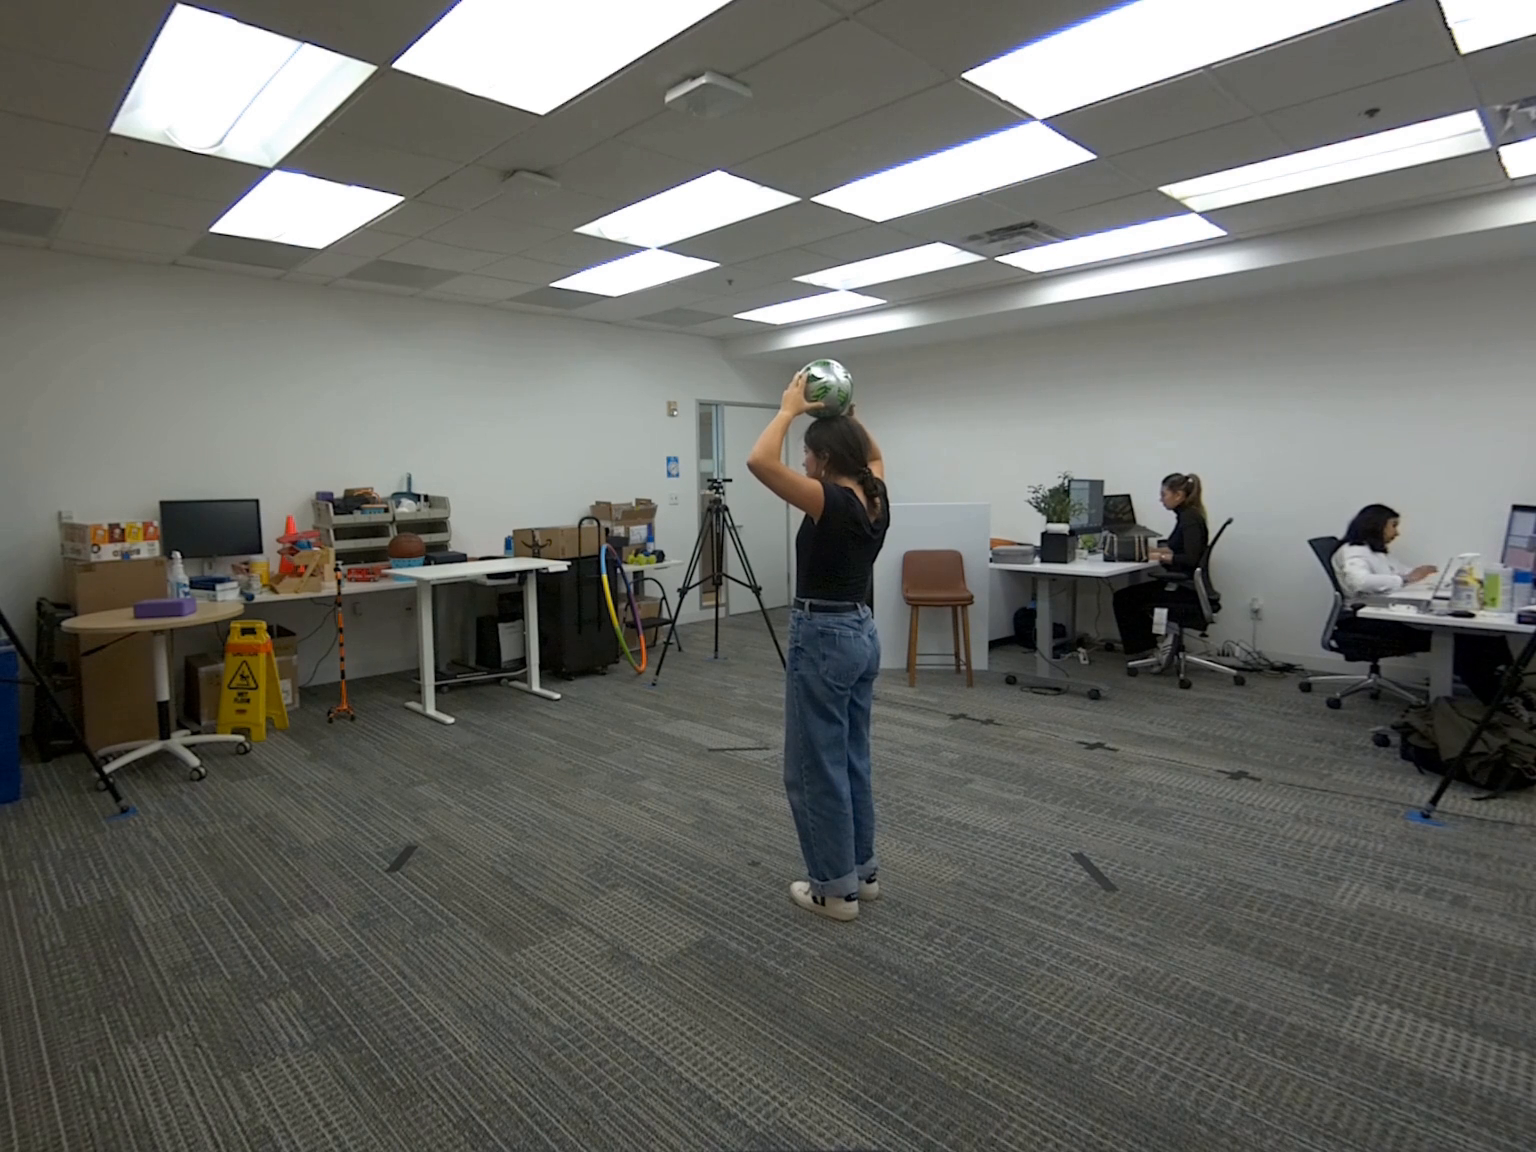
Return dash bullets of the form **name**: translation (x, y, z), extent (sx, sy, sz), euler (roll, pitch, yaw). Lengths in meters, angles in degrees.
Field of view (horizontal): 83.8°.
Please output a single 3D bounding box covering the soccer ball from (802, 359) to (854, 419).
- **soccer ball**: translation (0.183, -0.594, 2.730), extent (0.187, 0.187, 0.188), euler (-1, 5, -2)
